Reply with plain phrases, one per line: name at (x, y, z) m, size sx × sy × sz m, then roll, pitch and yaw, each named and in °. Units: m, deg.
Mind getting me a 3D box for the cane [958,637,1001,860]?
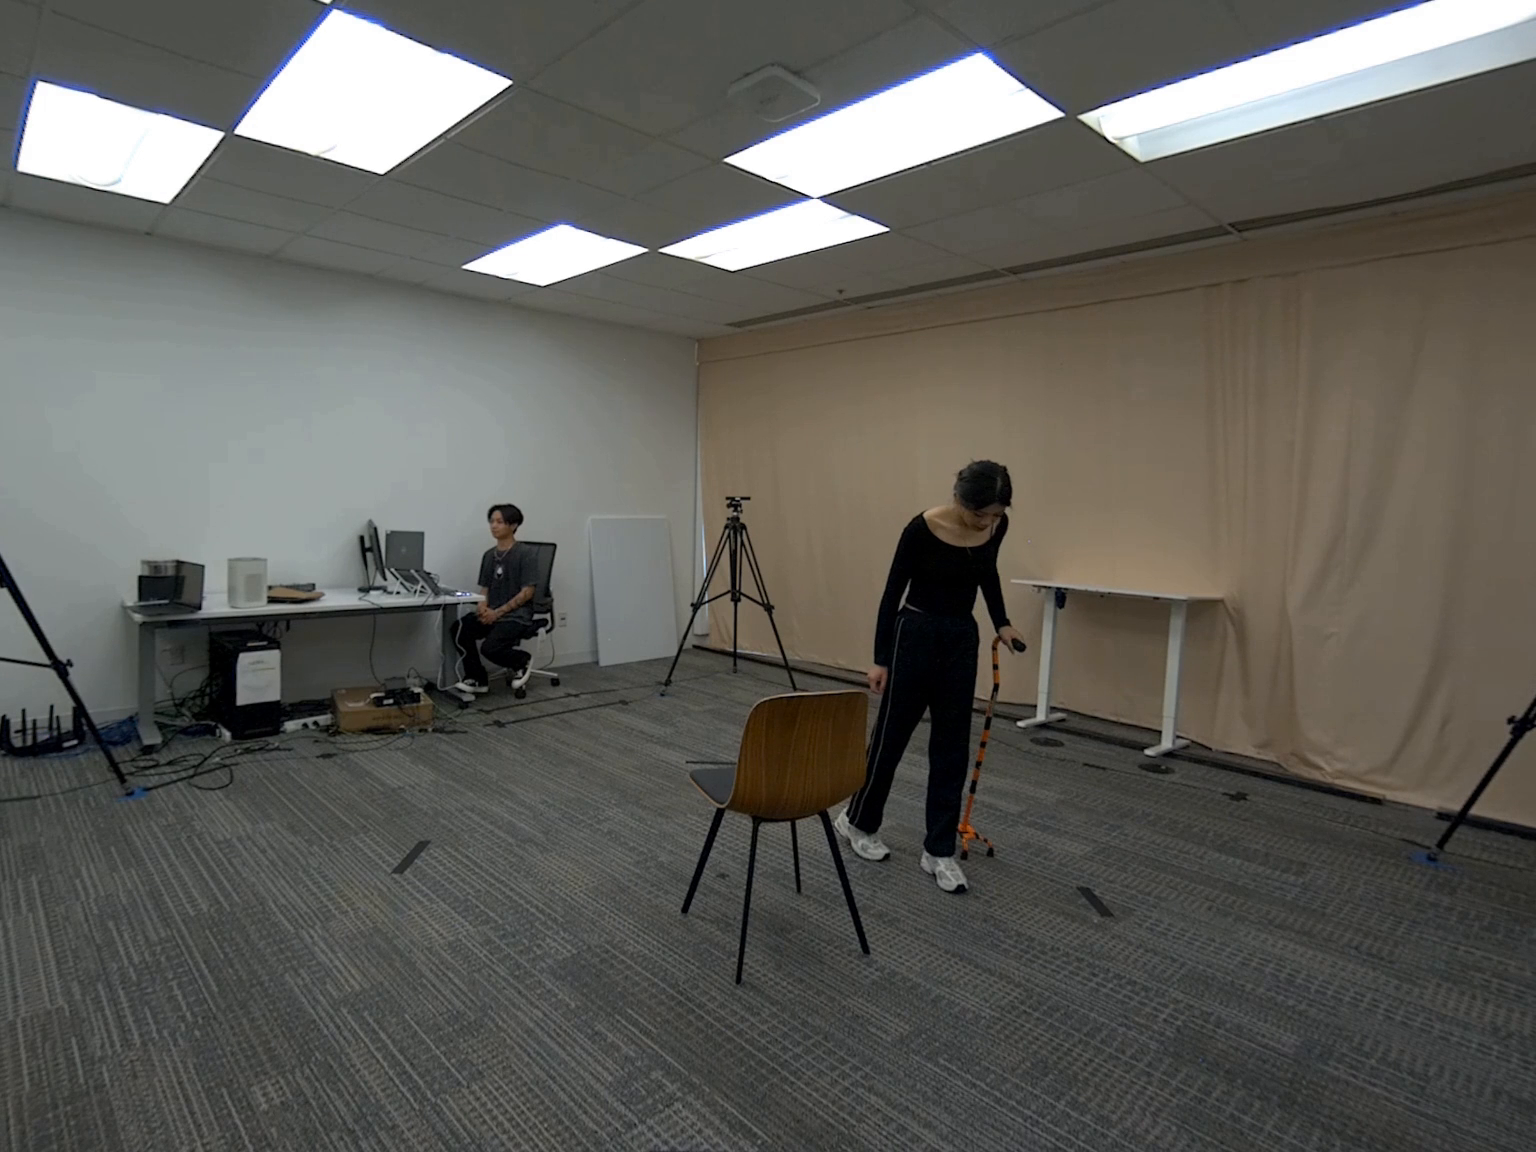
cane at (0.857, 0.654, 3.296) m, size 0.149 × 0.900 × 0.212 m, roll 2°, pitch 16°, yaw -22°
